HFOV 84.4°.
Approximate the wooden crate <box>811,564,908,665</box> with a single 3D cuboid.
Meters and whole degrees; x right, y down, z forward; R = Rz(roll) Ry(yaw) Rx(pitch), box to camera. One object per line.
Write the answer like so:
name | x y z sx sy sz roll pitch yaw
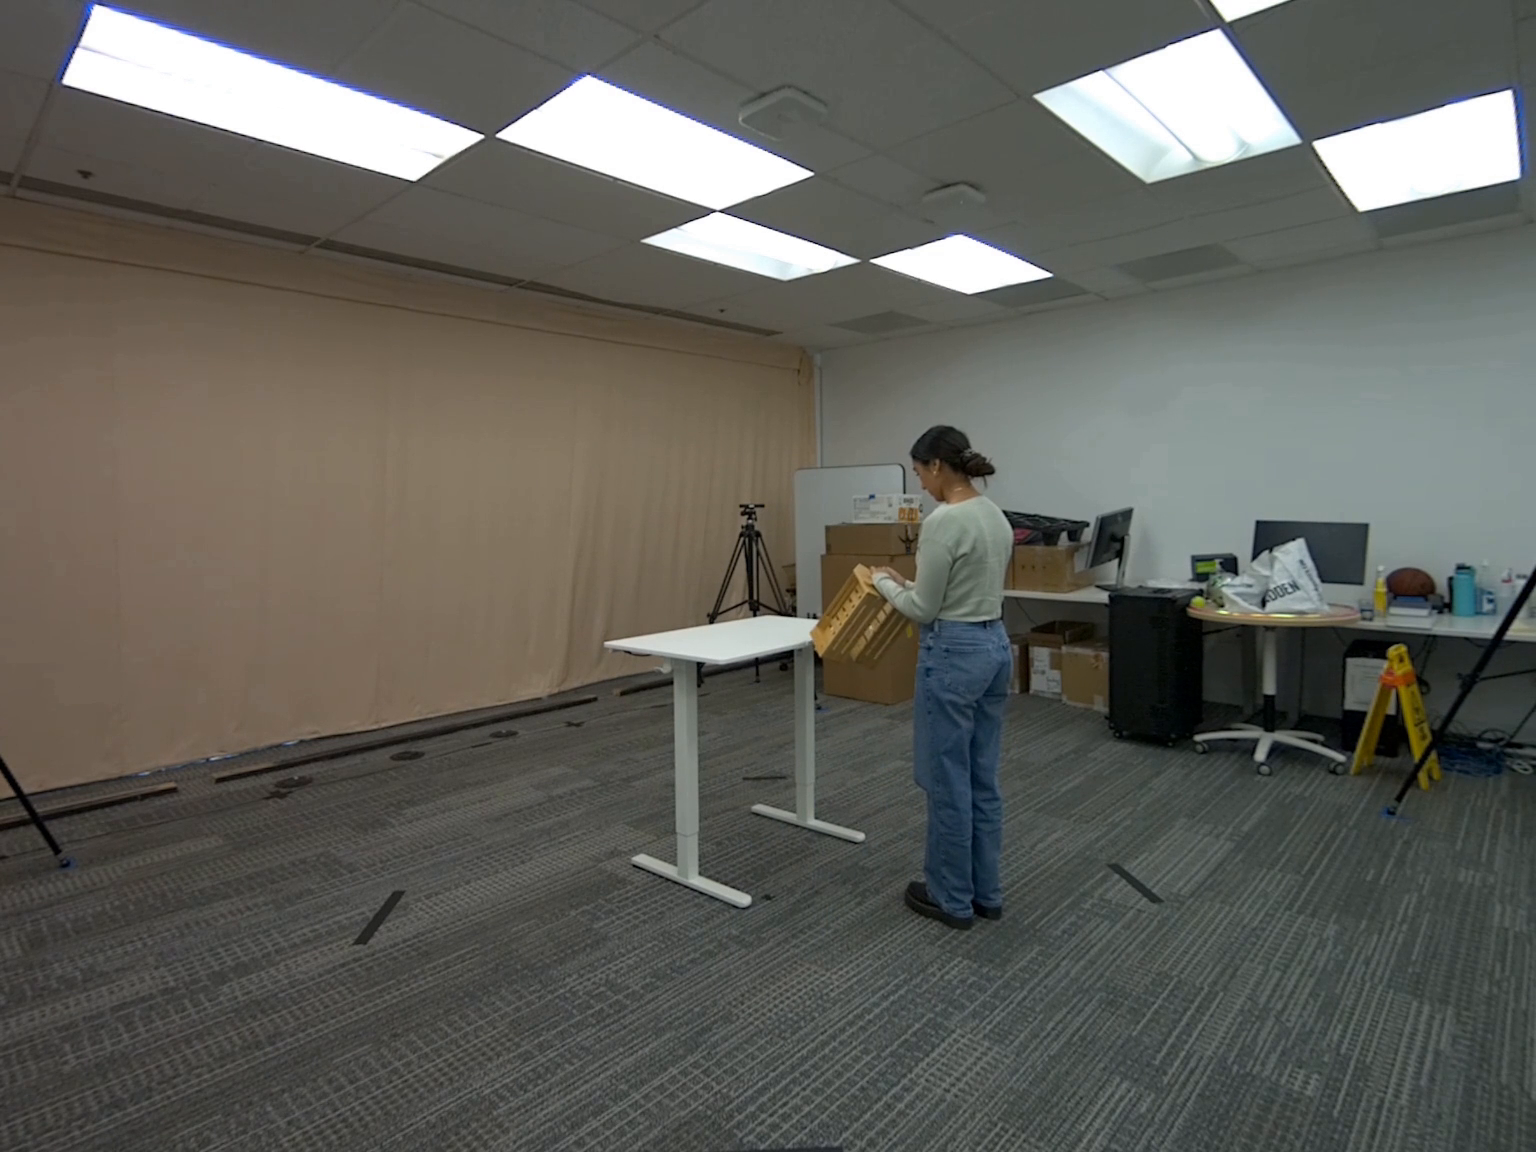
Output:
wooden crate | 0.340 0.130 3.067 0.266 0.324 0.310 22 23 -25
